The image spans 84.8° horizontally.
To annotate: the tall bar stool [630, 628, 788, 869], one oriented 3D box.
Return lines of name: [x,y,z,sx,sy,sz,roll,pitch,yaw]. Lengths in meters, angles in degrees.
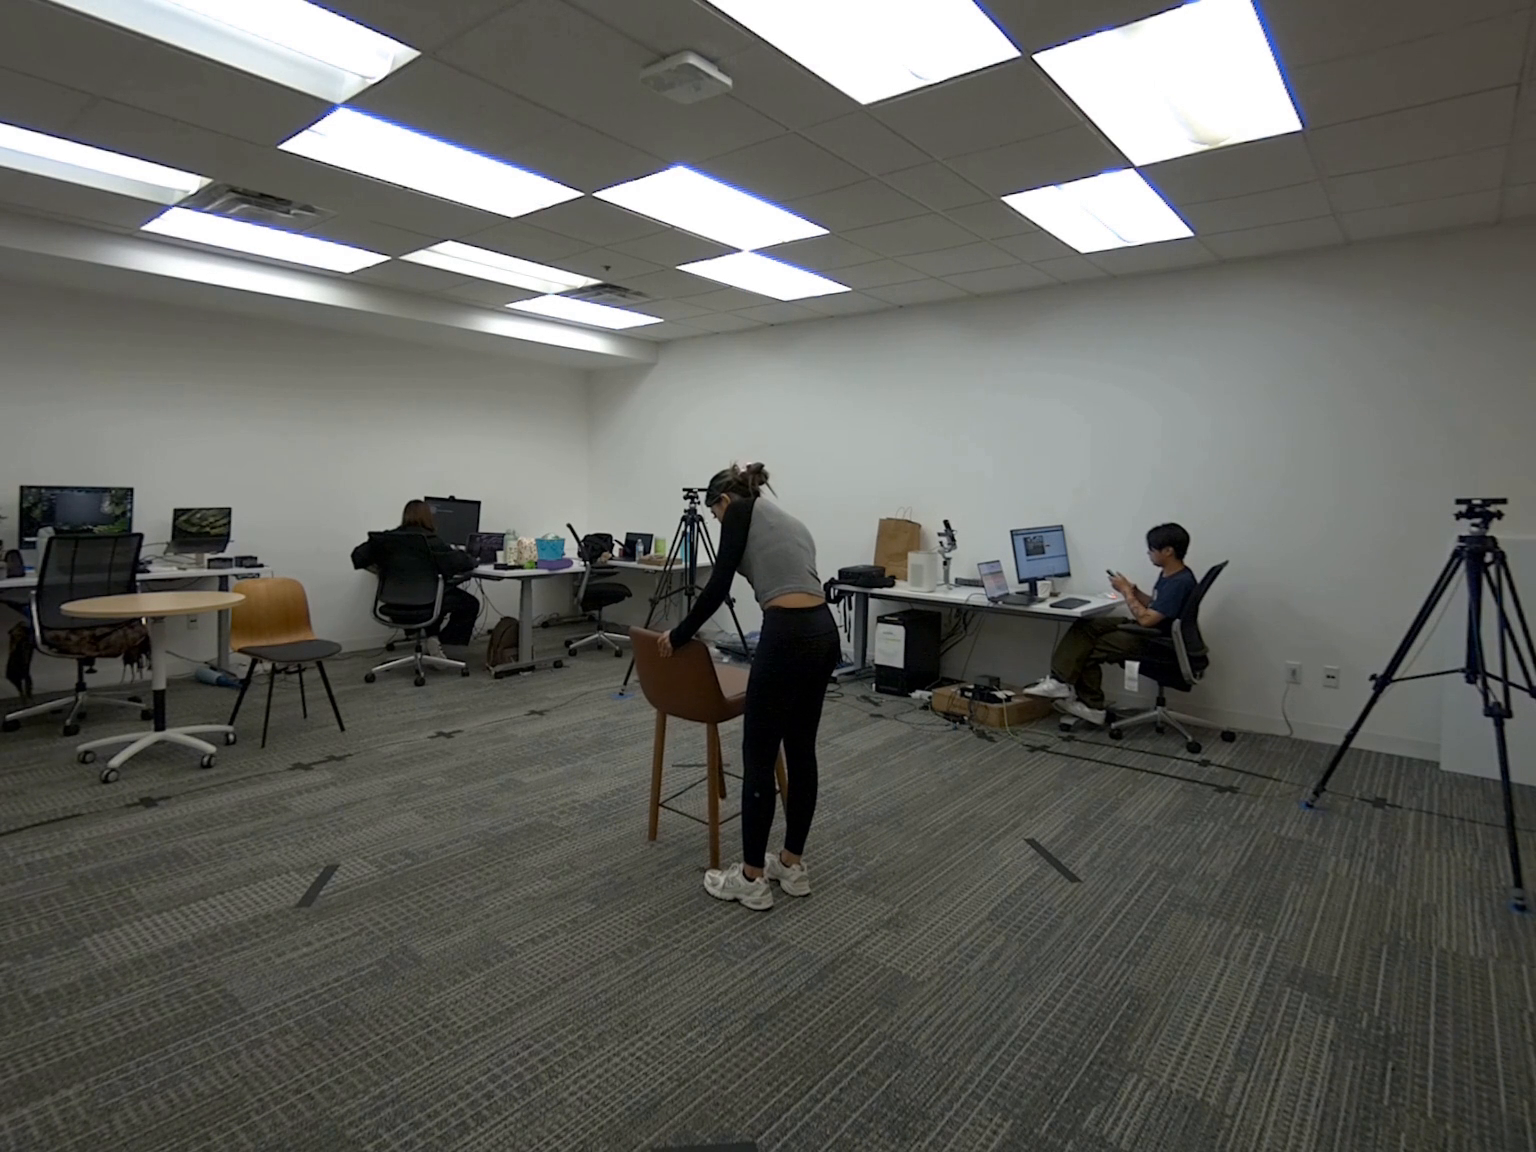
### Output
tall bar stool: [-0.238,0.589,3.335,0.472,0.880,0.457,5,14,42]
